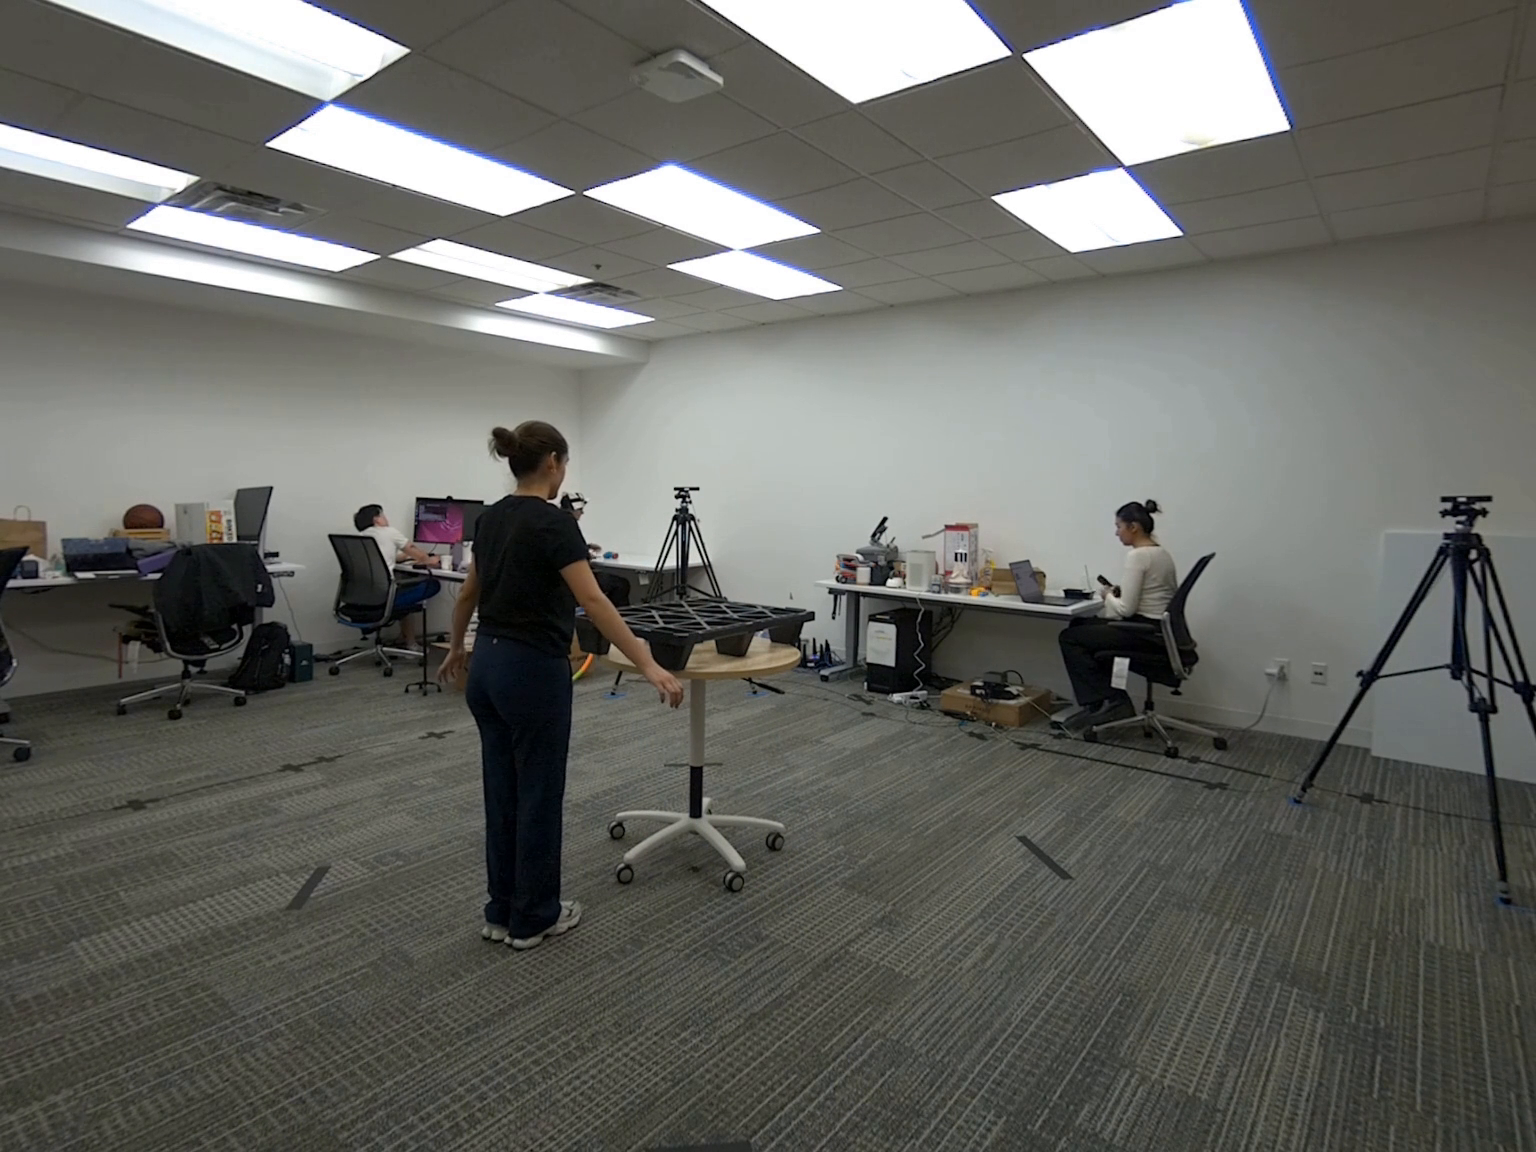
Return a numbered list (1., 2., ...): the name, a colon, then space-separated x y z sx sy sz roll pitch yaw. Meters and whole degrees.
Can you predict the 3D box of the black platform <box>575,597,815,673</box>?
1. black platform: -0.274 0.205 3.255 0.625 0.143 0.782 5 7 38
